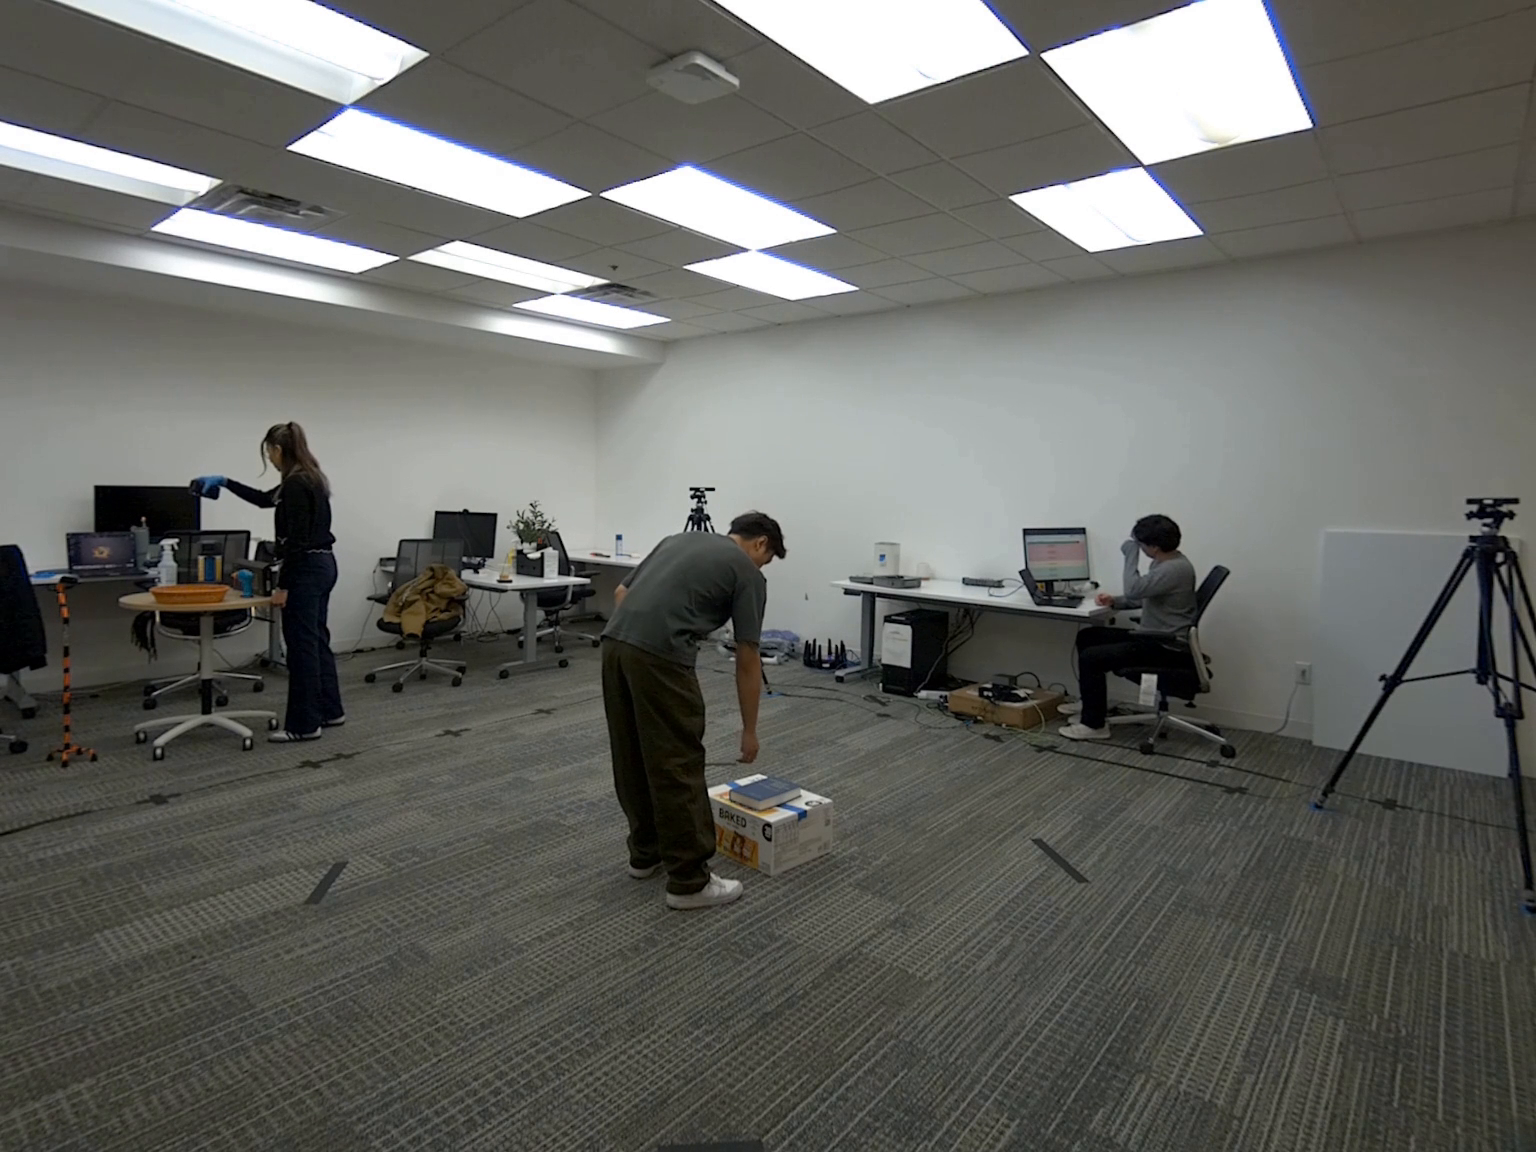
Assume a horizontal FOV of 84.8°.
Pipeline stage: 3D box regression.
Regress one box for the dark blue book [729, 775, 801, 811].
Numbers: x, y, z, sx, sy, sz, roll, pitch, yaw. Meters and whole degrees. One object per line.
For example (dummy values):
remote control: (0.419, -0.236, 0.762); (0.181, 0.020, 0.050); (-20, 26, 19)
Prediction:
dark blue book: (-0.010, 0.840, 3.294); (0.169, 0.045, 0.238); (6, 7, 44)
